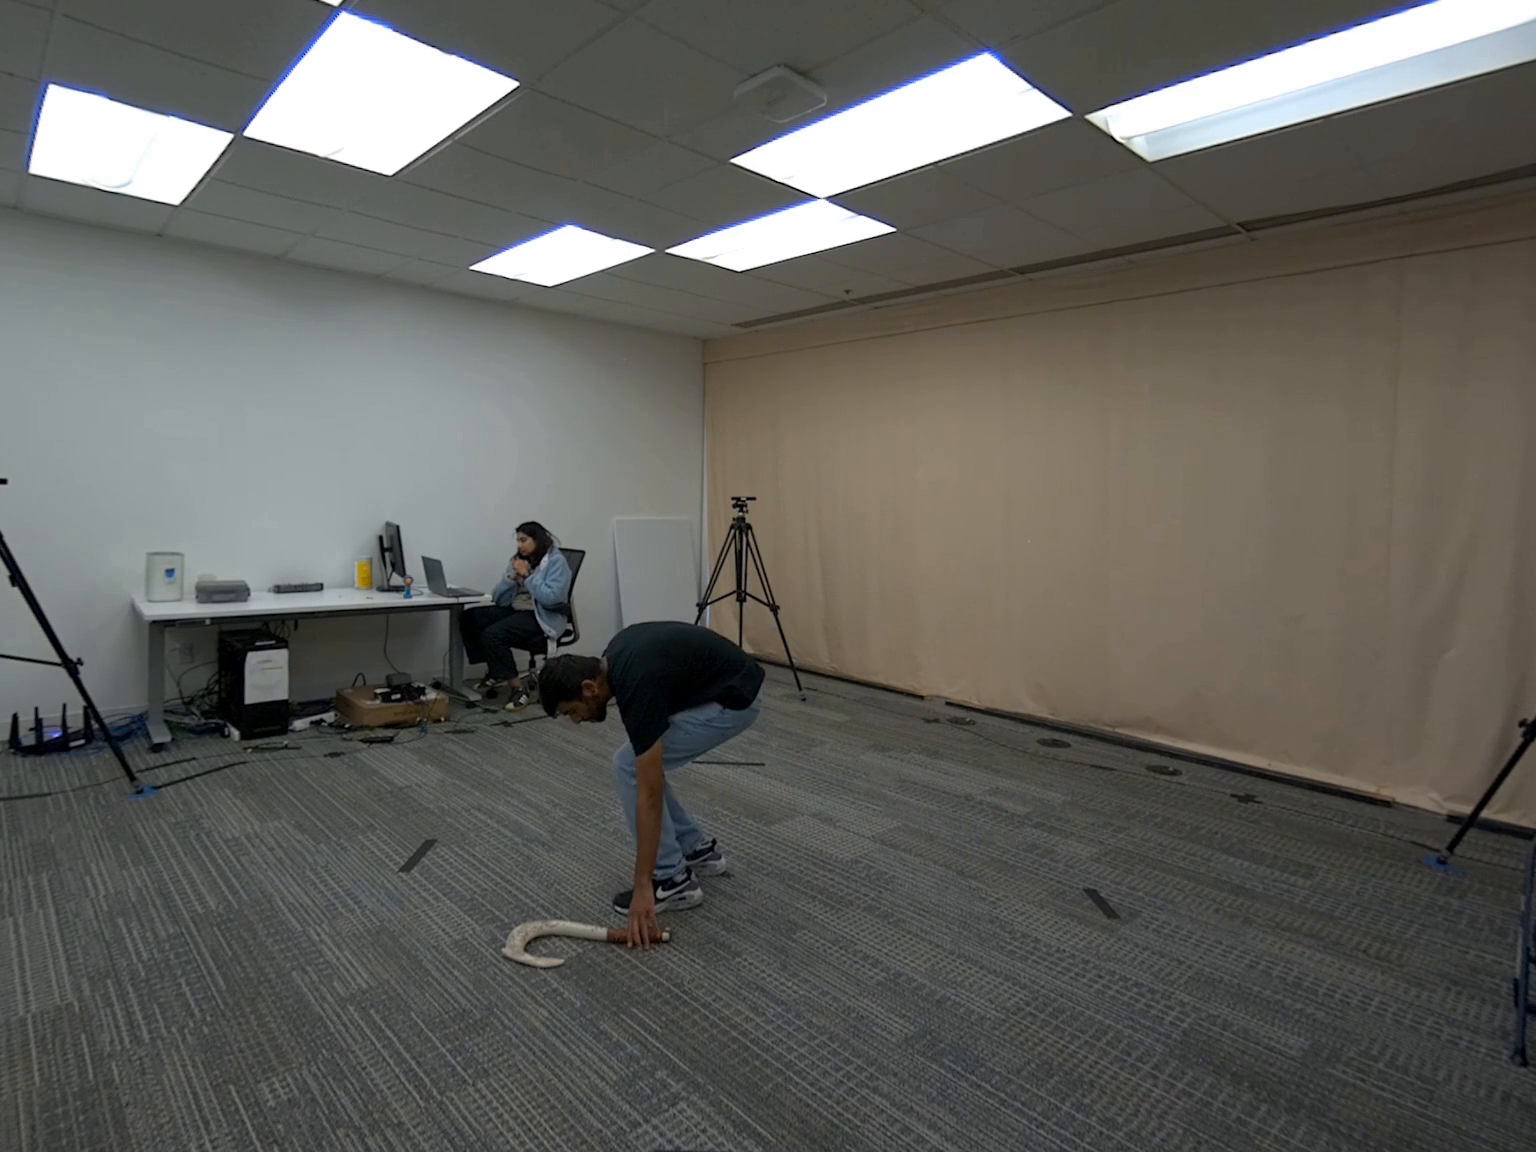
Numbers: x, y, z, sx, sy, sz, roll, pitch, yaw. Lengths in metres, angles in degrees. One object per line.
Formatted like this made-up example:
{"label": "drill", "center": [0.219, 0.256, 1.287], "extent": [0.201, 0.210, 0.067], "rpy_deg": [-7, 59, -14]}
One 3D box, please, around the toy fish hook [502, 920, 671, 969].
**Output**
{"label": "toy fish hook", "center": [-0.557, 1.128, 2.579], "extent": [0.506, 0.048, 0.227], "rpy_deg": [0, 13, -1]}
